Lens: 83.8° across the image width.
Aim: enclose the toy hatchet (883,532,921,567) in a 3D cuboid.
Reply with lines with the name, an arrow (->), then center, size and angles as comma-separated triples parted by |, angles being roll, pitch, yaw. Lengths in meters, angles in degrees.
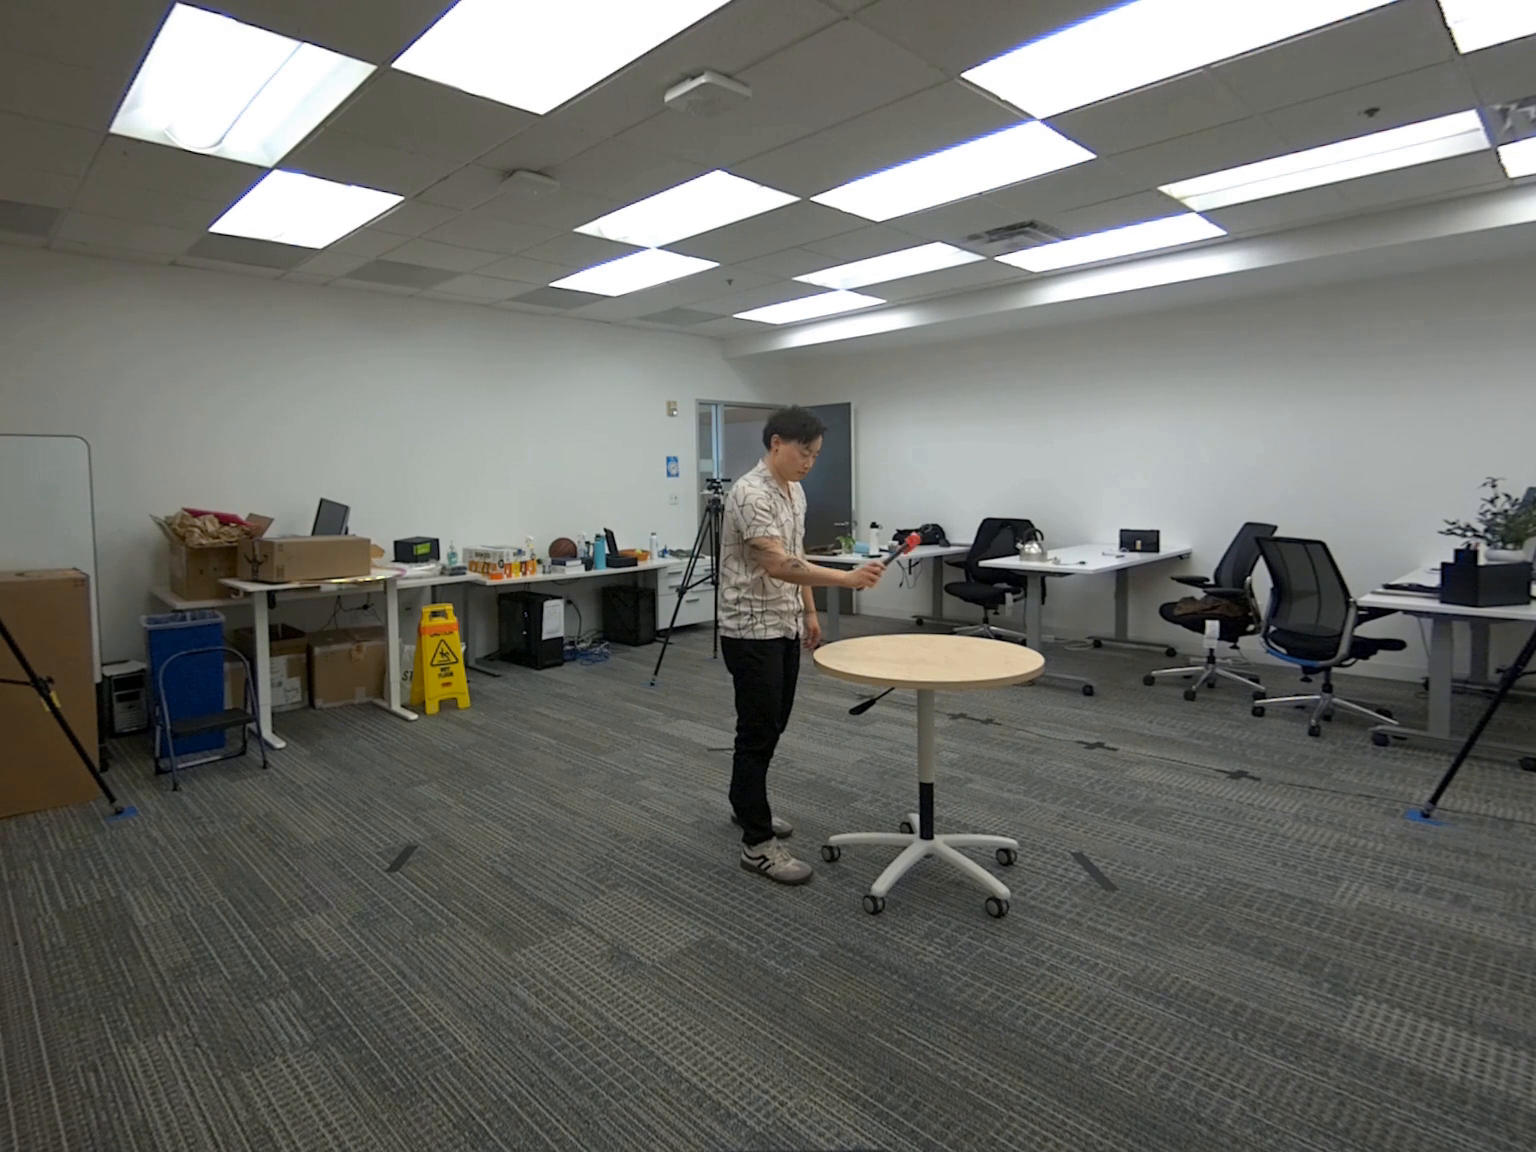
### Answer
toy hatchet -> 0.398, -0.049, 2.810 | 0.270, 0.030, 0.128 | -46, -18, 23
